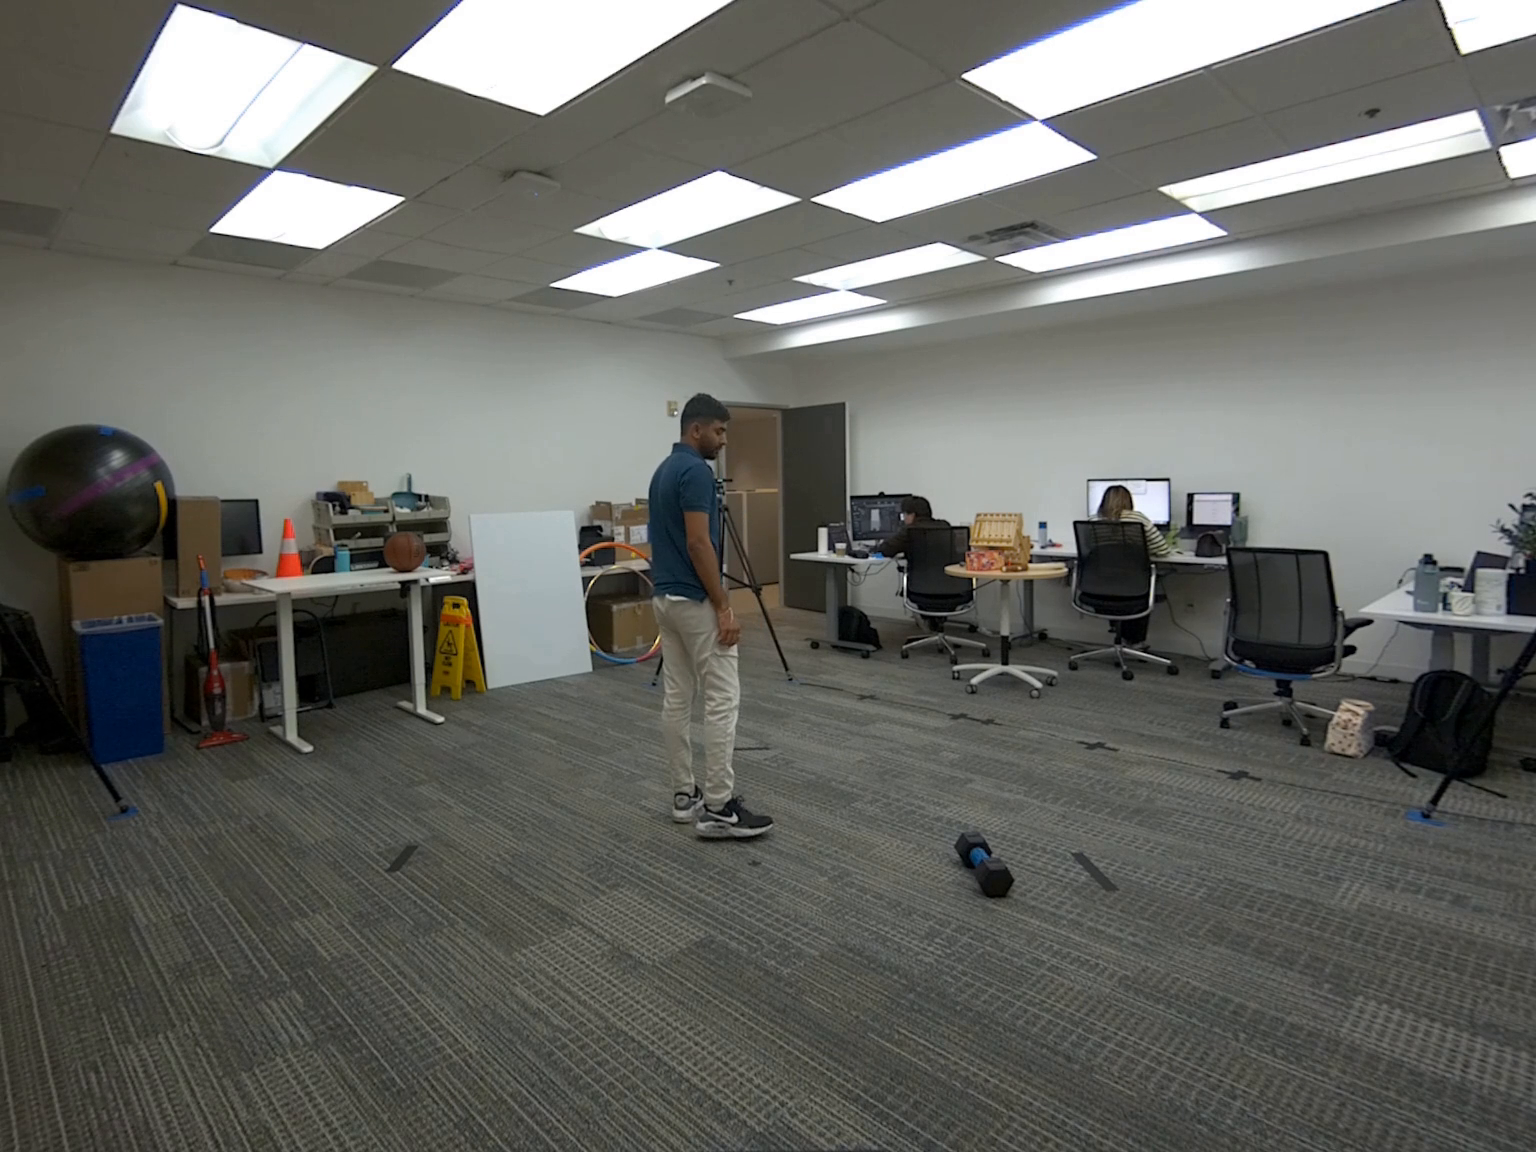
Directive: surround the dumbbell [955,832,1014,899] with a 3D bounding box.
[{"bbox_3d":[0.749,0.993,2.957,0.109,0.122,0.295,-33,7,0],"label":"dumbbell"}]
